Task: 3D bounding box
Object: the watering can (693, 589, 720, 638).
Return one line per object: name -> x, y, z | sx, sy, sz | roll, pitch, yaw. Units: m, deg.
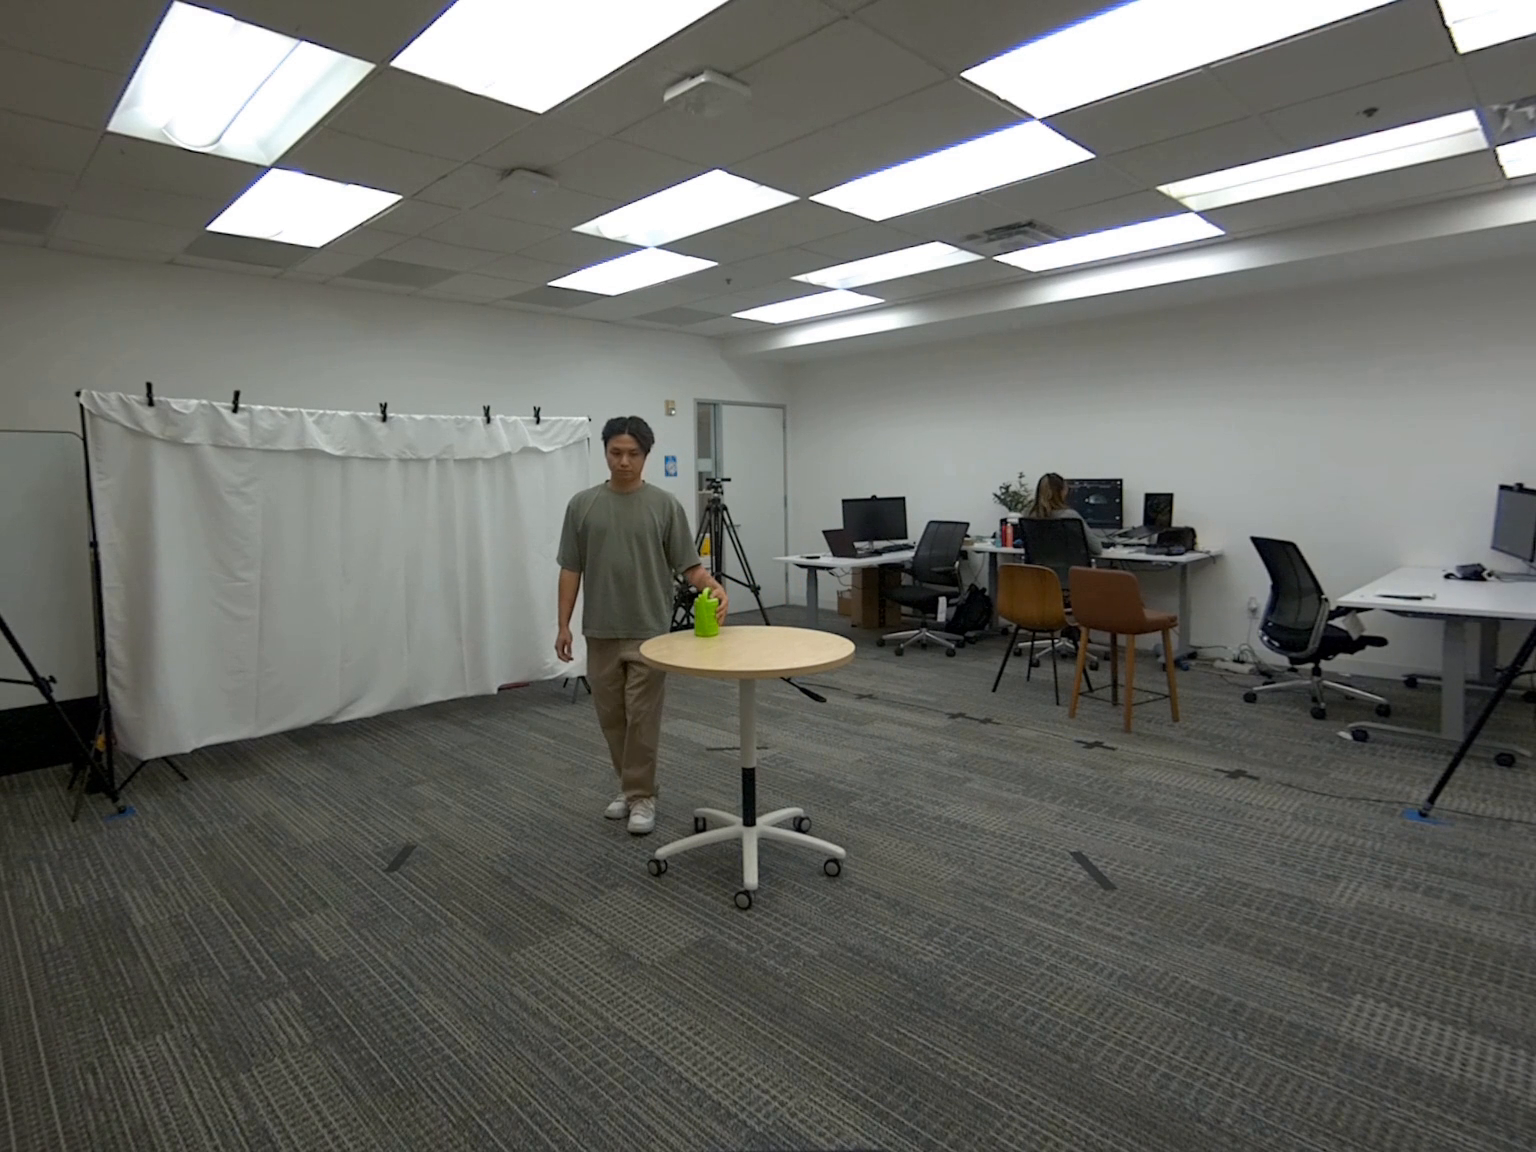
watering can -> -0.251, 0.145, 3.239 | 0.100, 0.176, 0.273 | -2, 5, 24
